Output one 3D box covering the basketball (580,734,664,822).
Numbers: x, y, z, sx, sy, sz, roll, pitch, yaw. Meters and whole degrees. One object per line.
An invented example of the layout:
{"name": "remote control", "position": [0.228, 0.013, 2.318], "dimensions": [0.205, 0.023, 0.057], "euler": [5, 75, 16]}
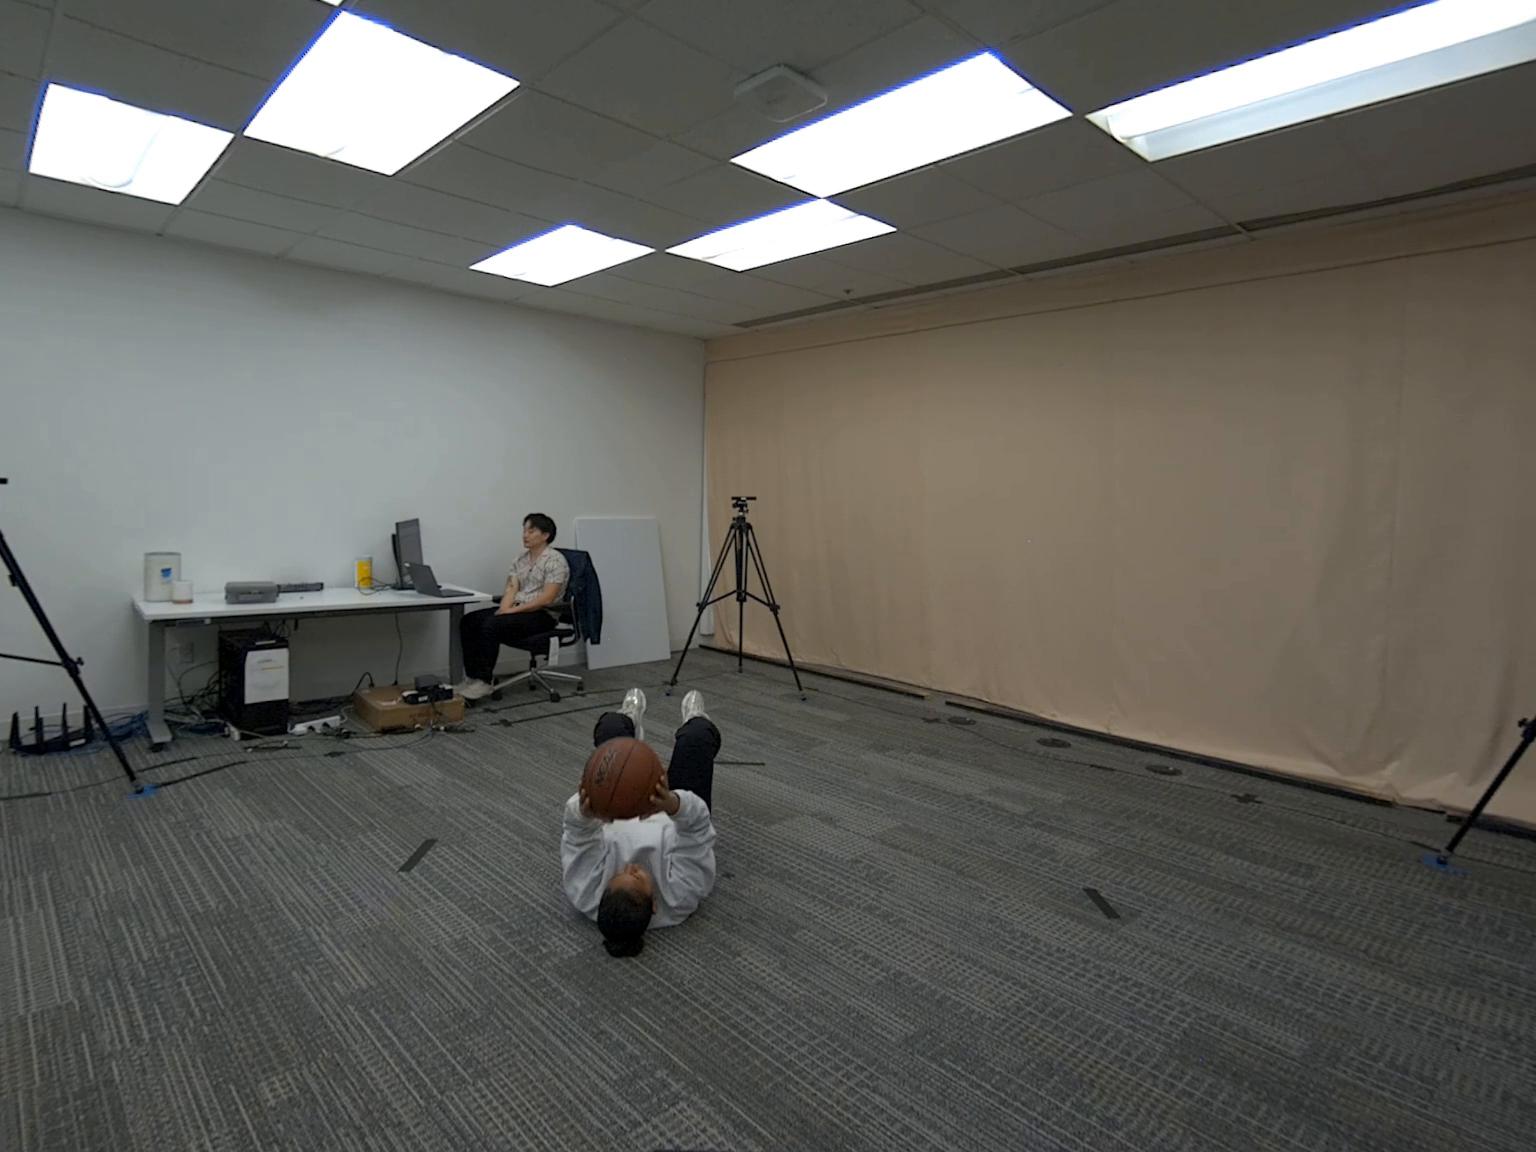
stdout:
{"name": "basketball", "position": [-0.440, 0.607, 2.515], "dimensions": [0.236, 0.235, 0.237], "euler": [1, 4, -1]}
